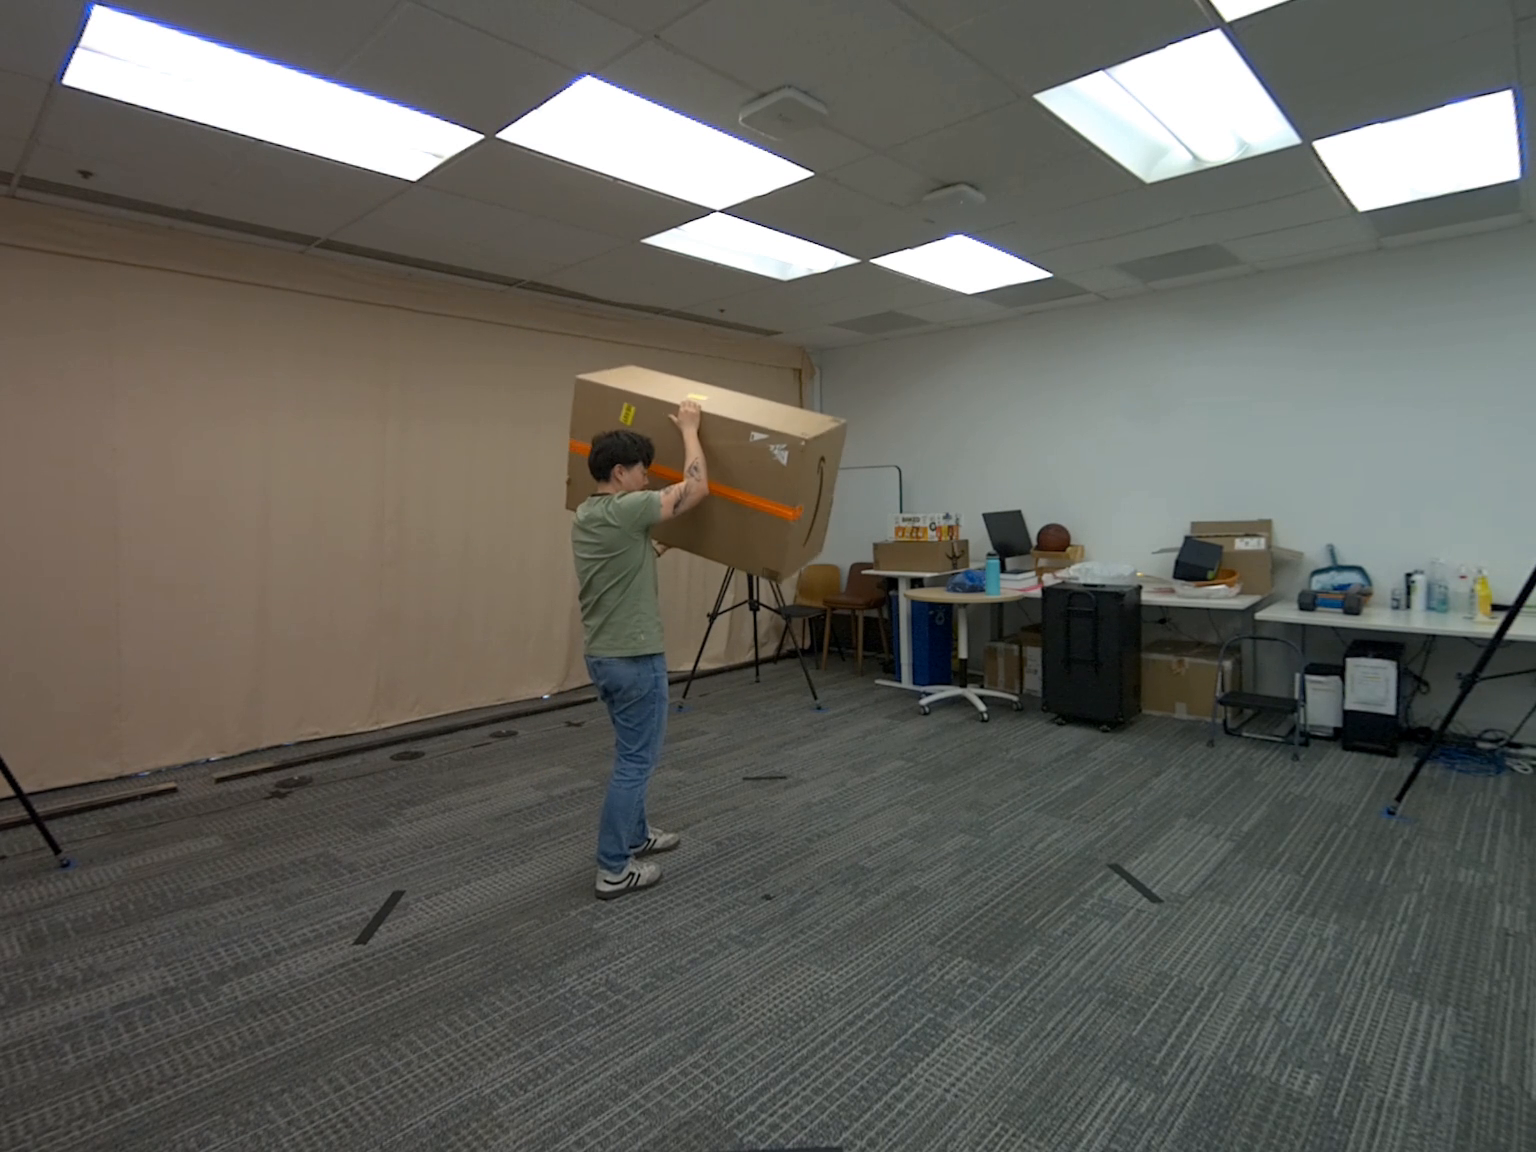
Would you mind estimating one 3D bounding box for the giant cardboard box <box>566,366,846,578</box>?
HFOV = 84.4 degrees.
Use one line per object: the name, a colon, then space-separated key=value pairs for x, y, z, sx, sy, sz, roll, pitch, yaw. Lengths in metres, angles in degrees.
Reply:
giant cardboard box: x=-0.272 y=-0.434 z=3.431 sx=1.053 sy=0.572 sz=0.419 roll=19 pitch=24 yaw=22
